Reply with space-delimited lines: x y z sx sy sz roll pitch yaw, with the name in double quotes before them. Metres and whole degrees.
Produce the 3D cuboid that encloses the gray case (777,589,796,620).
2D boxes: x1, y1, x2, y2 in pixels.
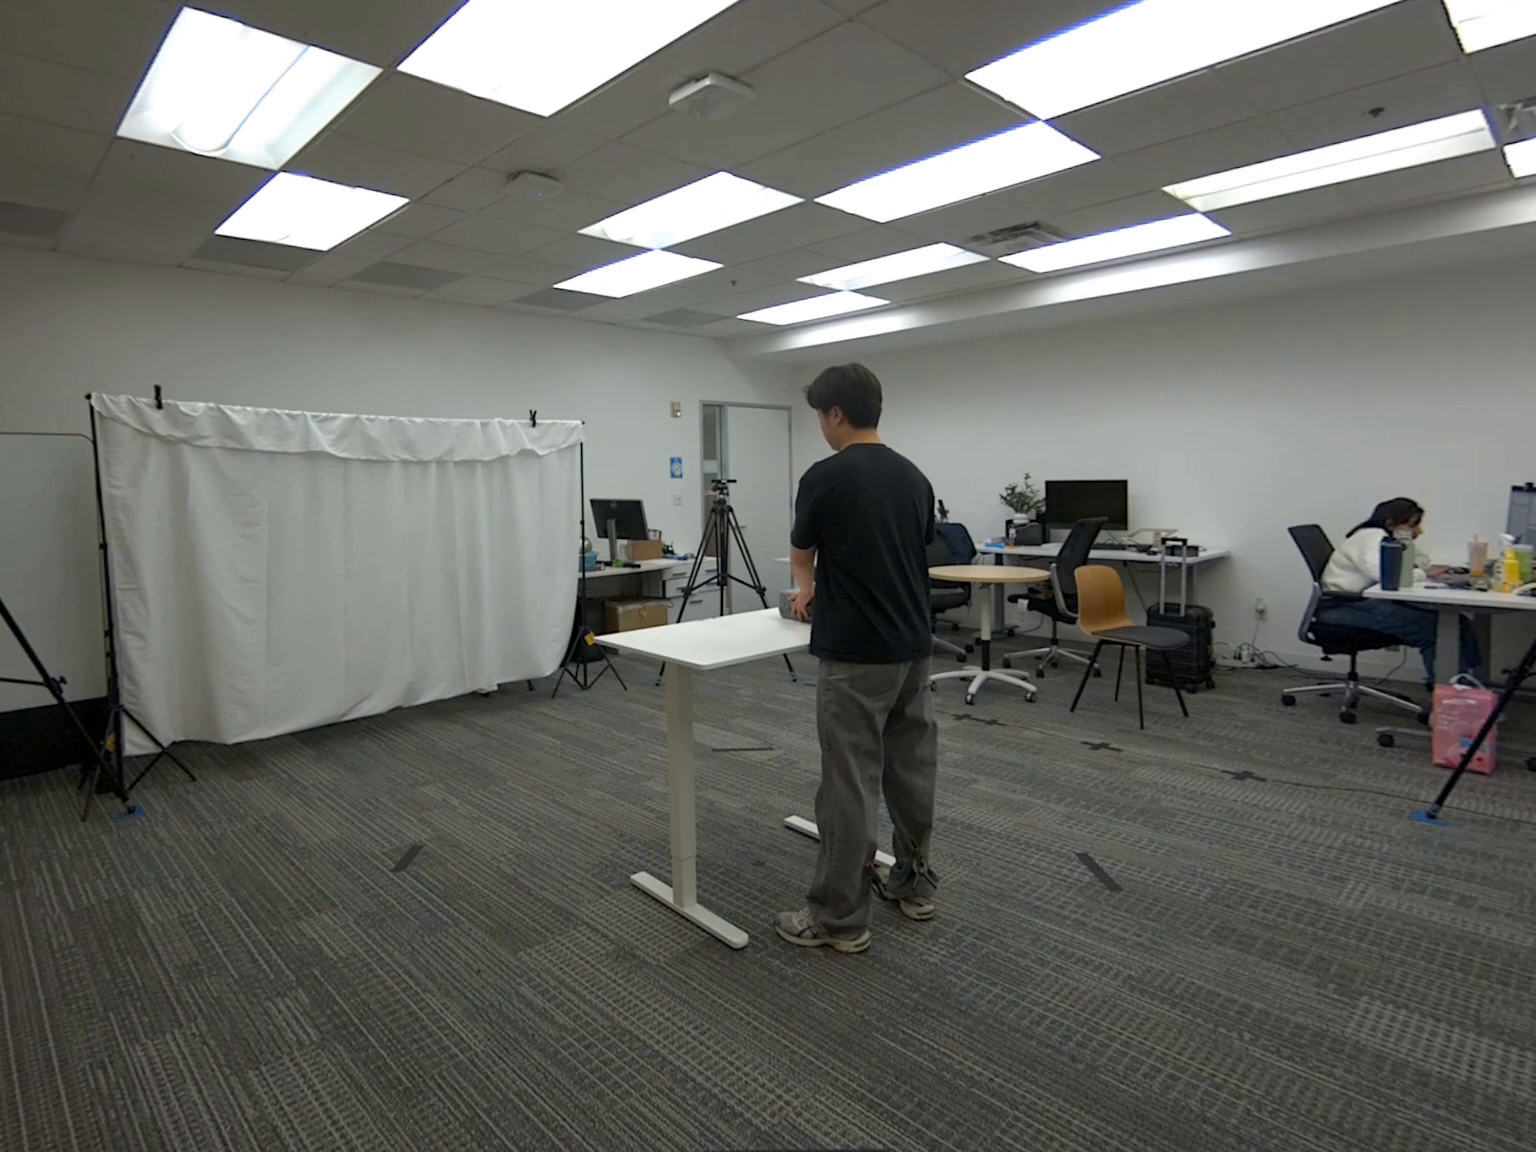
"gray case" 0.195 0.101 3.142 0.280 0.102 0.271 -6 8 -39
